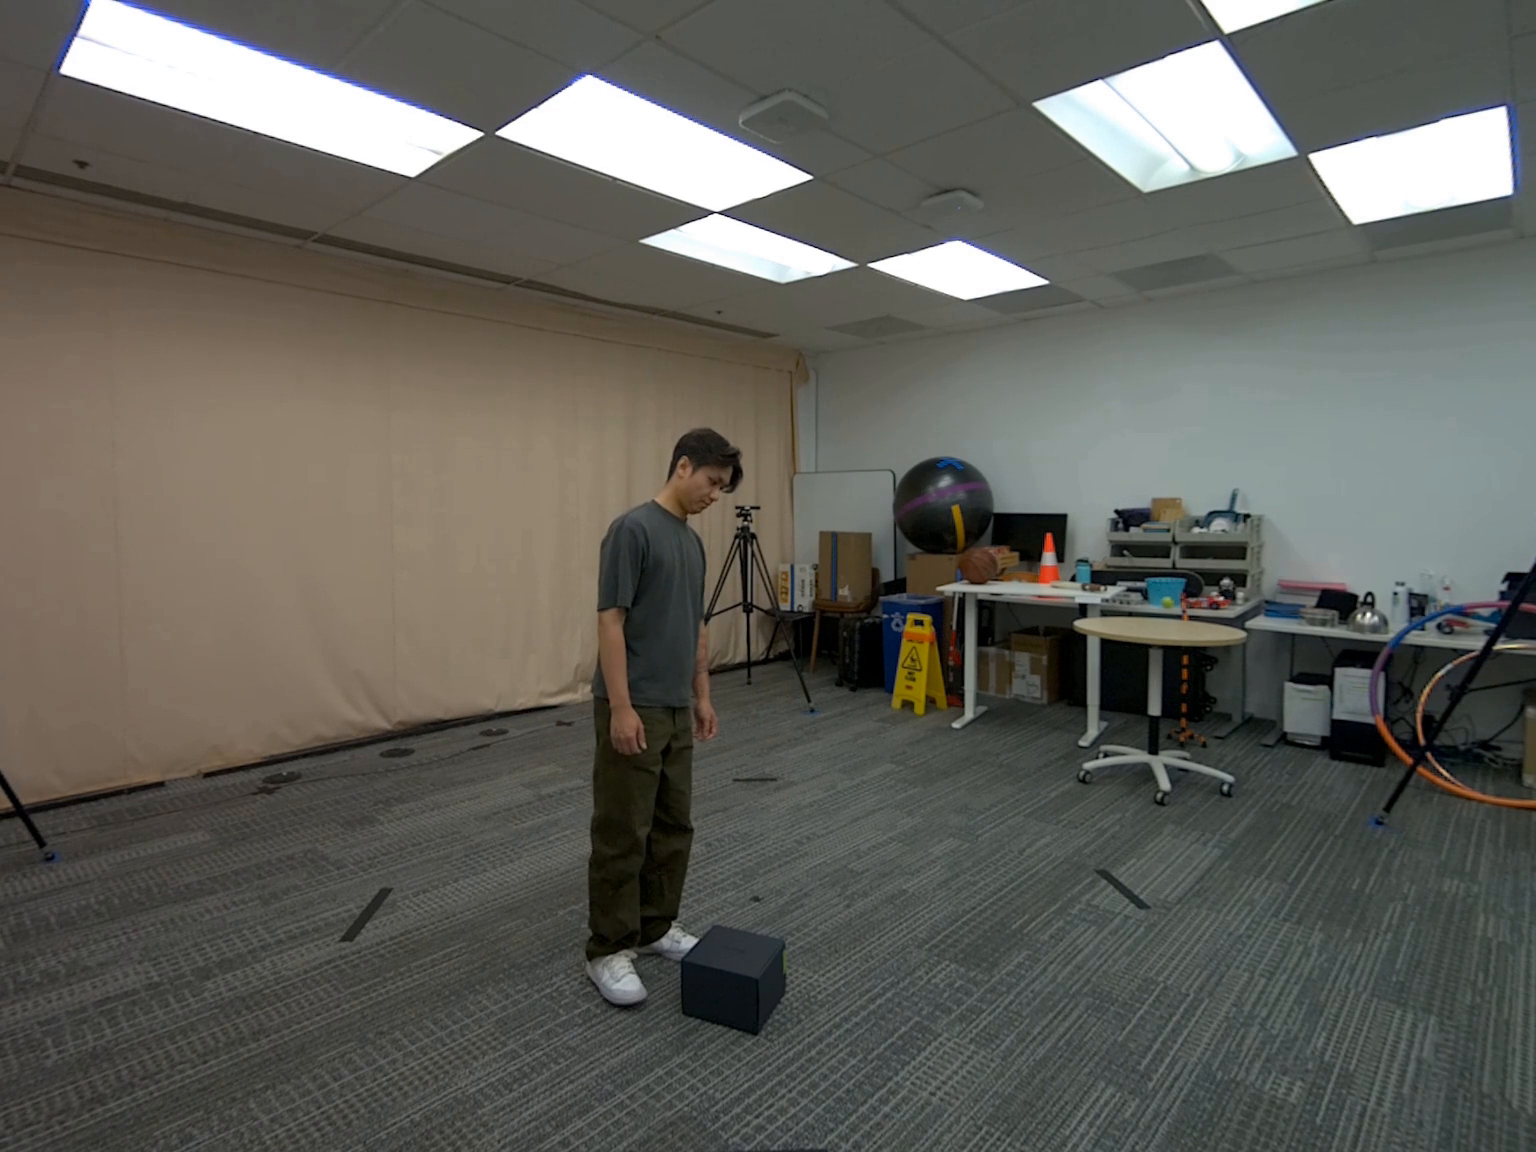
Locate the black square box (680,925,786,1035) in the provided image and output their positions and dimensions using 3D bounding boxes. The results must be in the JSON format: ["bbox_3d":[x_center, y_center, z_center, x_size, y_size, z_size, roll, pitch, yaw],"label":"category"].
[{"bbox_3d":[-0.088,1.114,2.346,0.233,0.155,0.212,1,4,24],"label":"black square box"}]
